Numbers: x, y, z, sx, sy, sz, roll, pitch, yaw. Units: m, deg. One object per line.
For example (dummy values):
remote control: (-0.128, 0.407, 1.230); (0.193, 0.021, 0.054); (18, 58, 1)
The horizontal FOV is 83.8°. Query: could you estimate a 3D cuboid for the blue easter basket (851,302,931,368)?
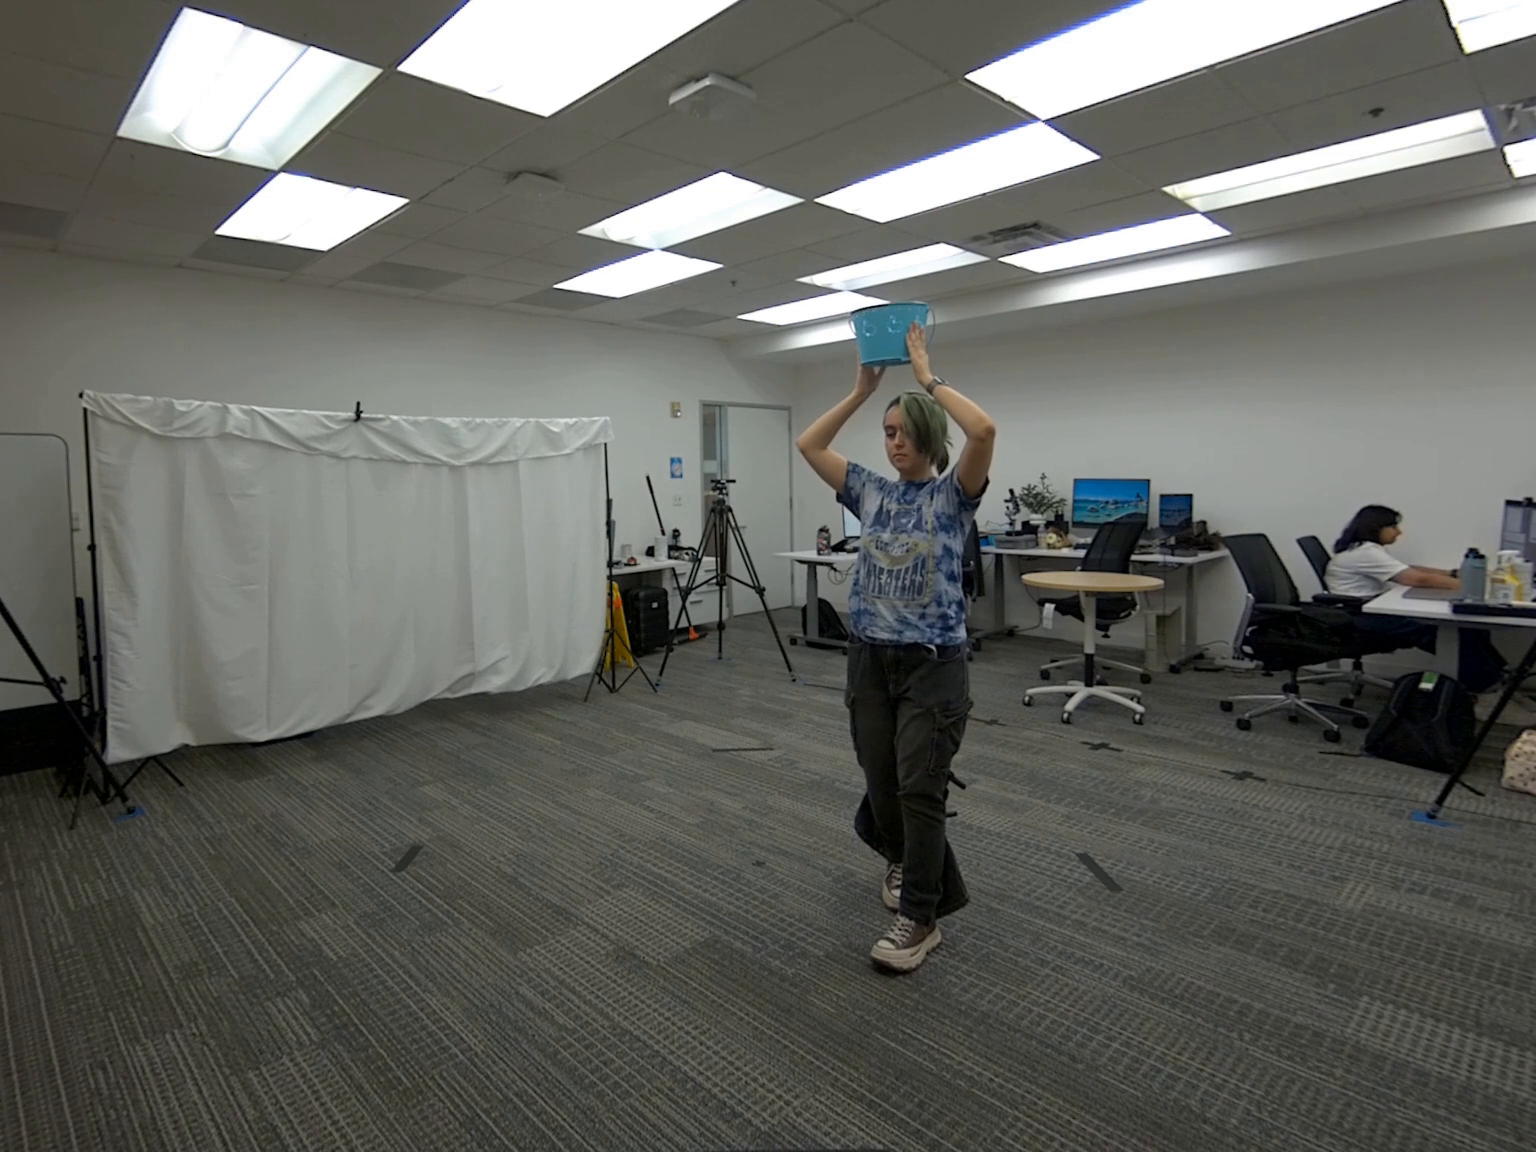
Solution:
blue easter basket: (0.385, -0.705, 2.493); (0.243, 0.155, 0.245); (-4, 6, -1)
